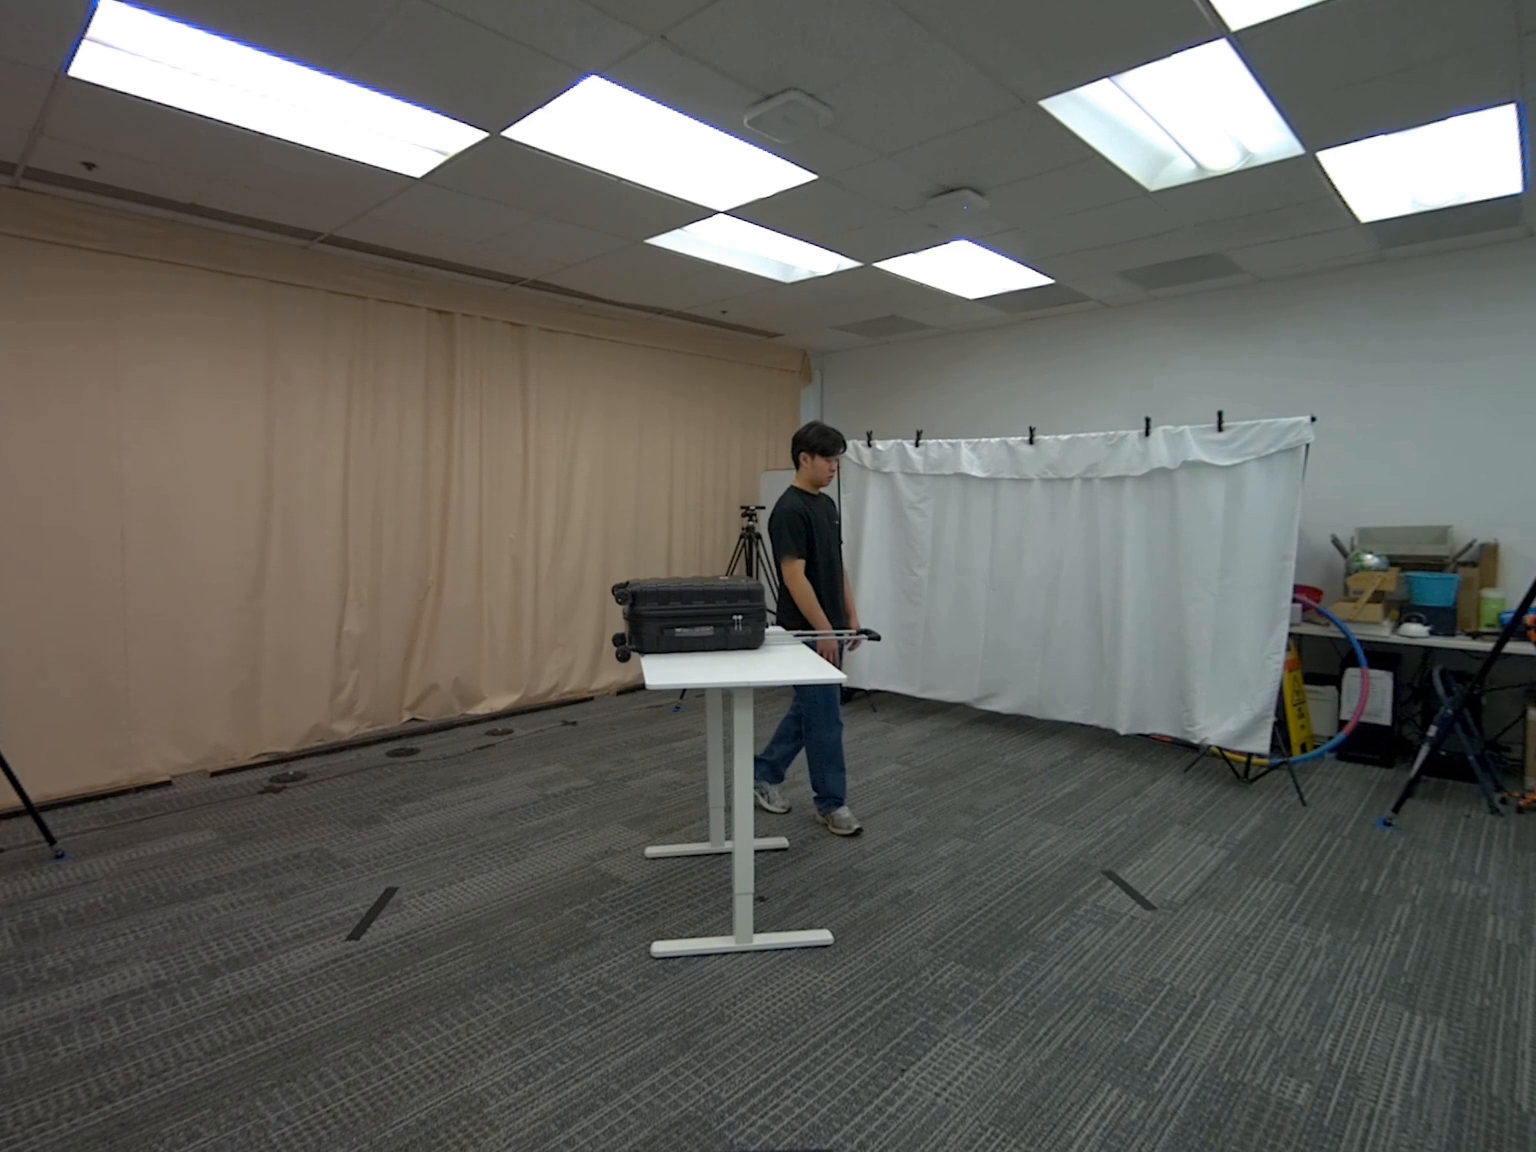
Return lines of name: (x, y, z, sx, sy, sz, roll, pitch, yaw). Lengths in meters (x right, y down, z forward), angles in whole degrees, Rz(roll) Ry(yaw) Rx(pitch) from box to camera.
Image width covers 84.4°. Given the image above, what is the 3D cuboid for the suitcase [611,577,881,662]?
suitcase: (-0.086, 0.128, 3.111, 0.968, 0.256, 0.389, -3, 4, -10)
